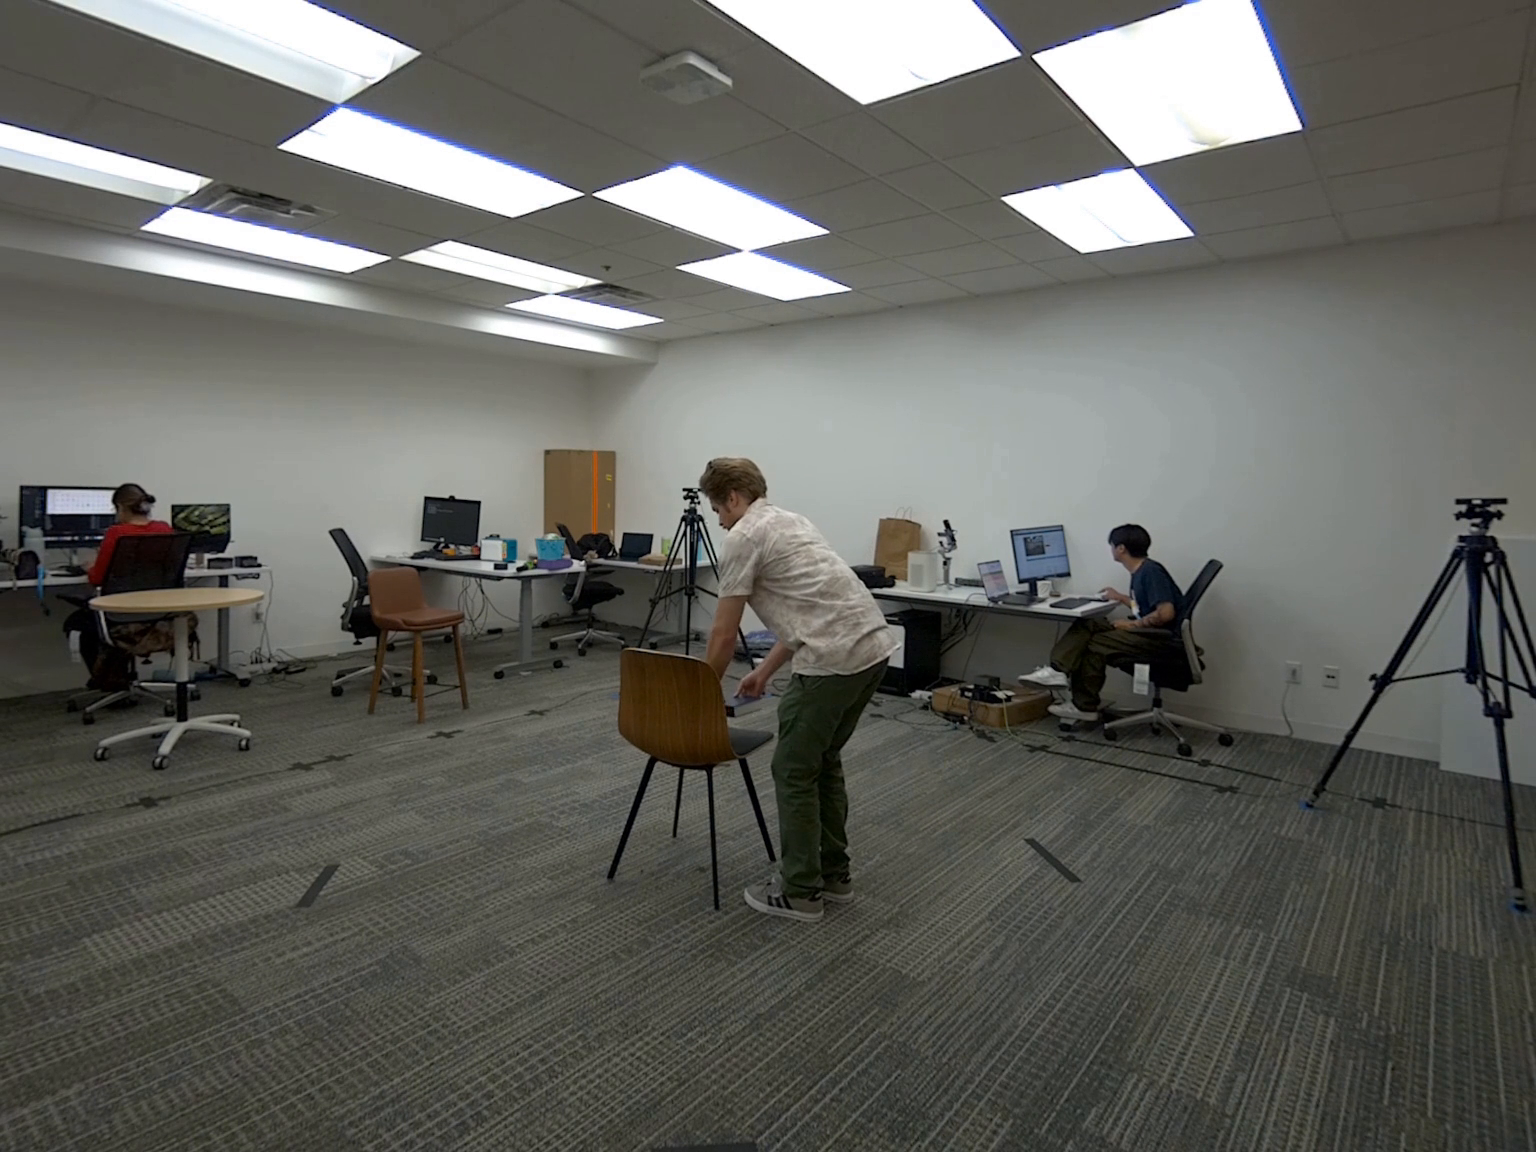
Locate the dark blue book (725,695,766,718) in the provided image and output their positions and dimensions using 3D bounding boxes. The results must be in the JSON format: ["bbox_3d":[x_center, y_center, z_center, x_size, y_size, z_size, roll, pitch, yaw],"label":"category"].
[{"bbox_3d":[-0.172,0.458,3.091,0.253,0.045,0.158,1,4,39],"label":"dark blue book"}]
